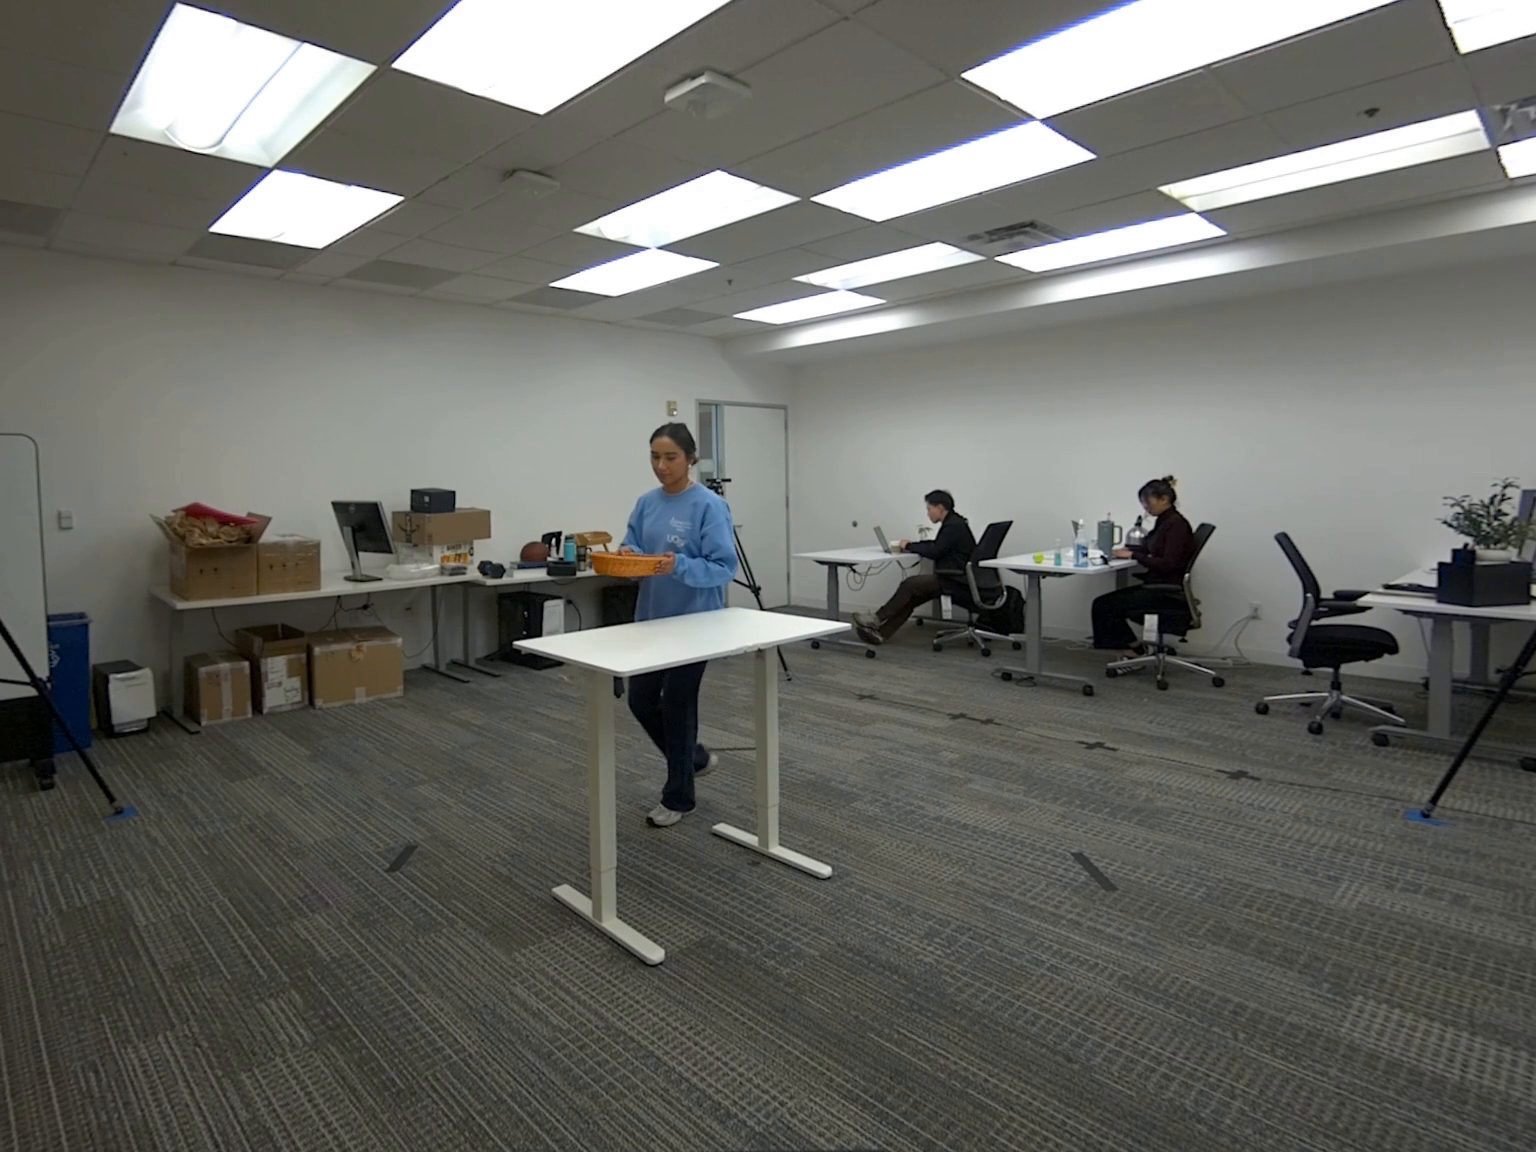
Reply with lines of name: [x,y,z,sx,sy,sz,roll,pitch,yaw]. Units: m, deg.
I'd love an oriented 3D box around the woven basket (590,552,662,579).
woven basket: [-0.505,-0.033,3.166,0.259,0.073,0.341,4,4,33]
